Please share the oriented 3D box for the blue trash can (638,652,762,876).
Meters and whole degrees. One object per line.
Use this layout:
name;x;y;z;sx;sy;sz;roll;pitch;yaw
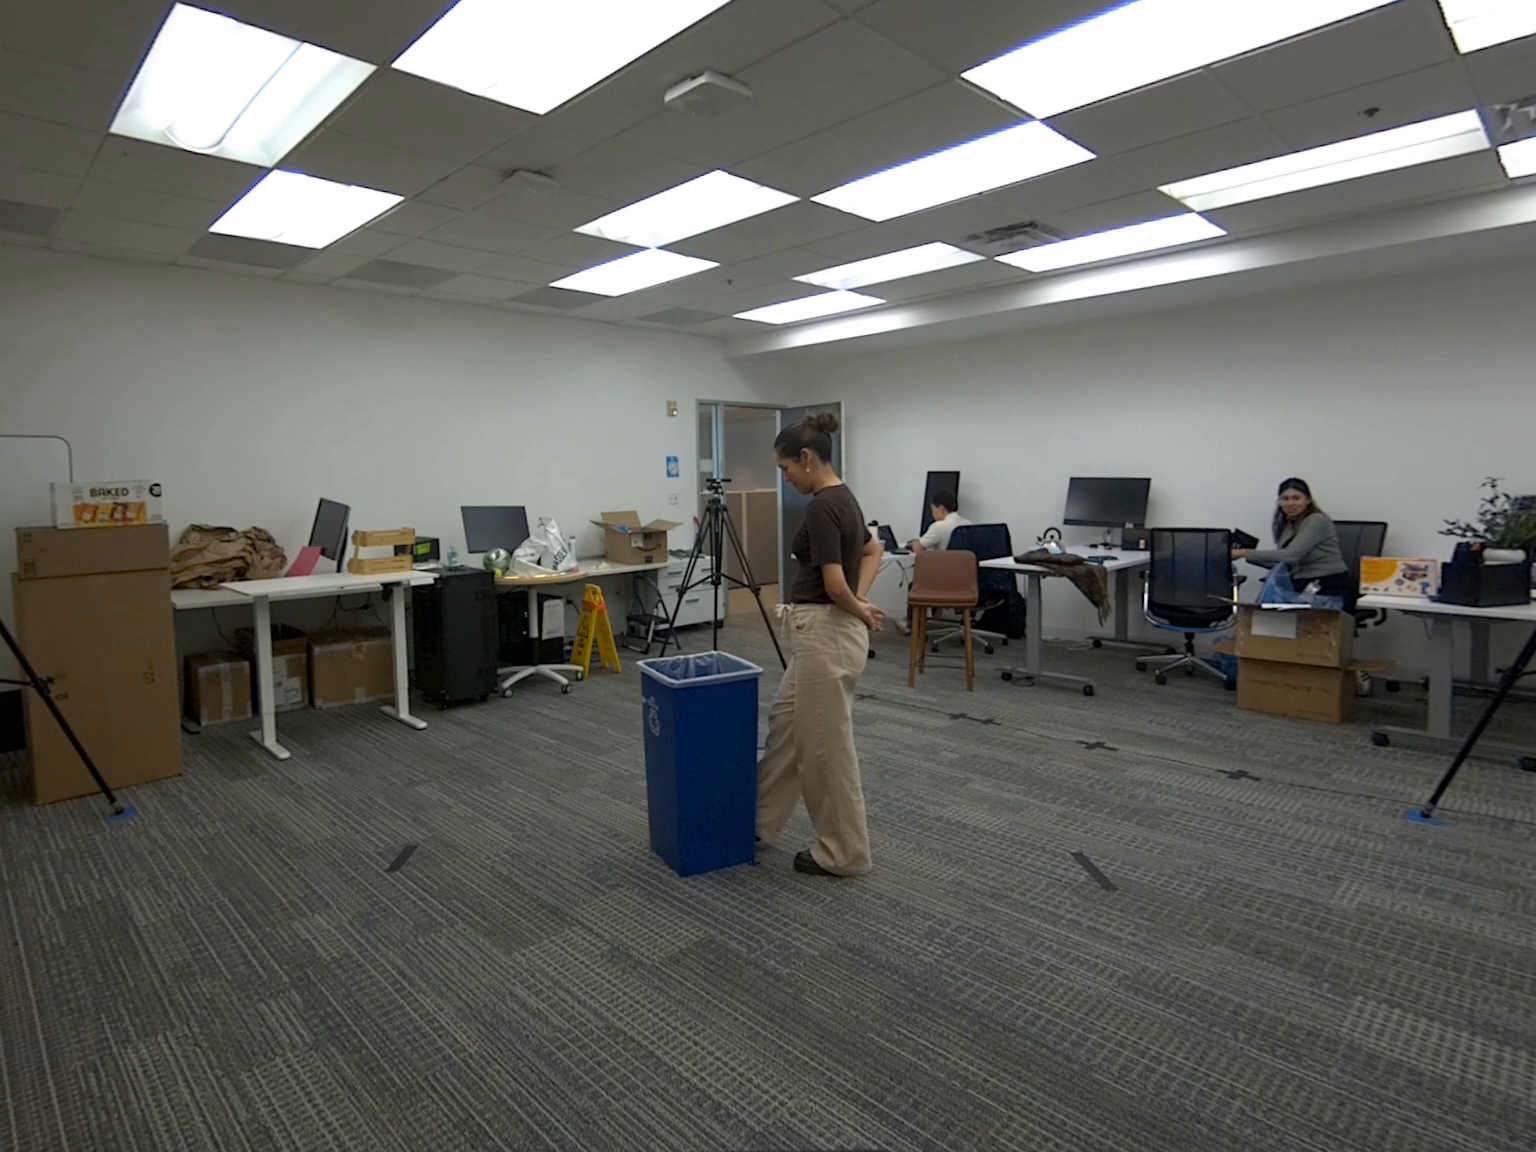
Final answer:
blue trash can;-0.247;0.680;3.165;0.365;0.710;0.388;-3;5;-29
